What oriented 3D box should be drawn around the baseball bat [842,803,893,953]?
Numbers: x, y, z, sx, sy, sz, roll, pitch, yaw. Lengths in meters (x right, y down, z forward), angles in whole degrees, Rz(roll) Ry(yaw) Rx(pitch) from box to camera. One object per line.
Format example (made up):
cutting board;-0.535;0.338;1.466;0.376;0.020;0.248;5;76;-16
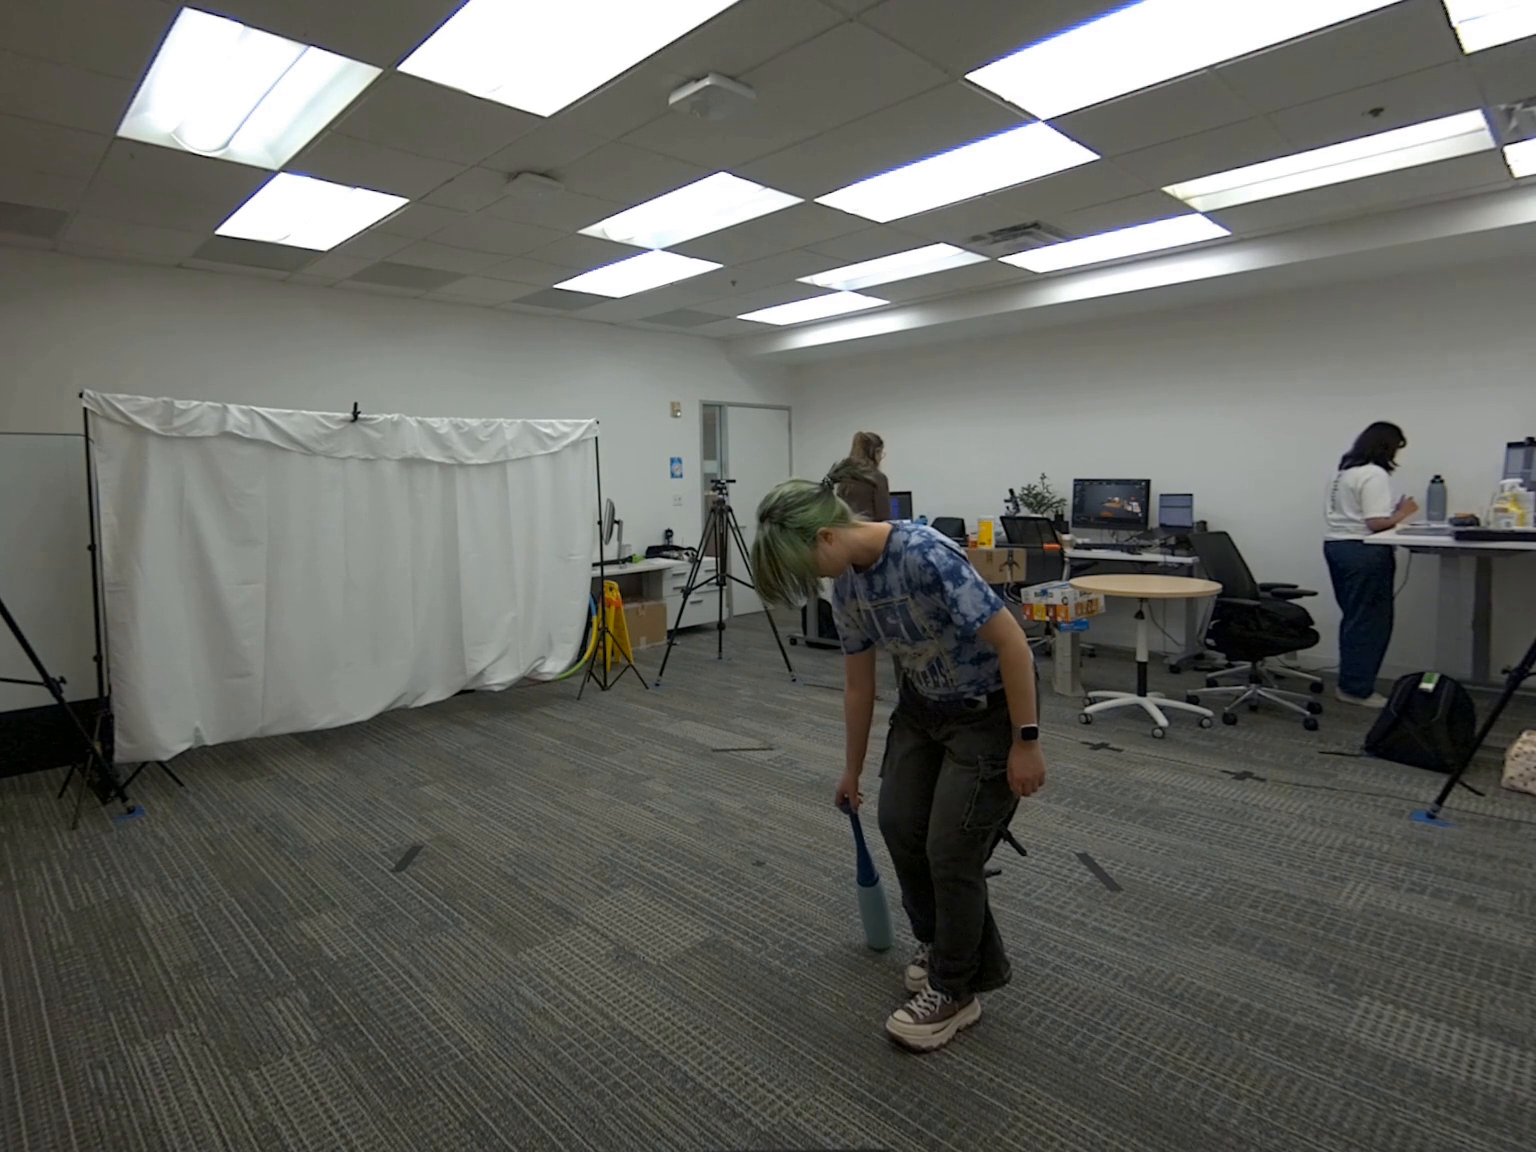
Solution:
baseball bat;0.292;0.861;2.455;0.089;0.530;0.091;-10;24;3
